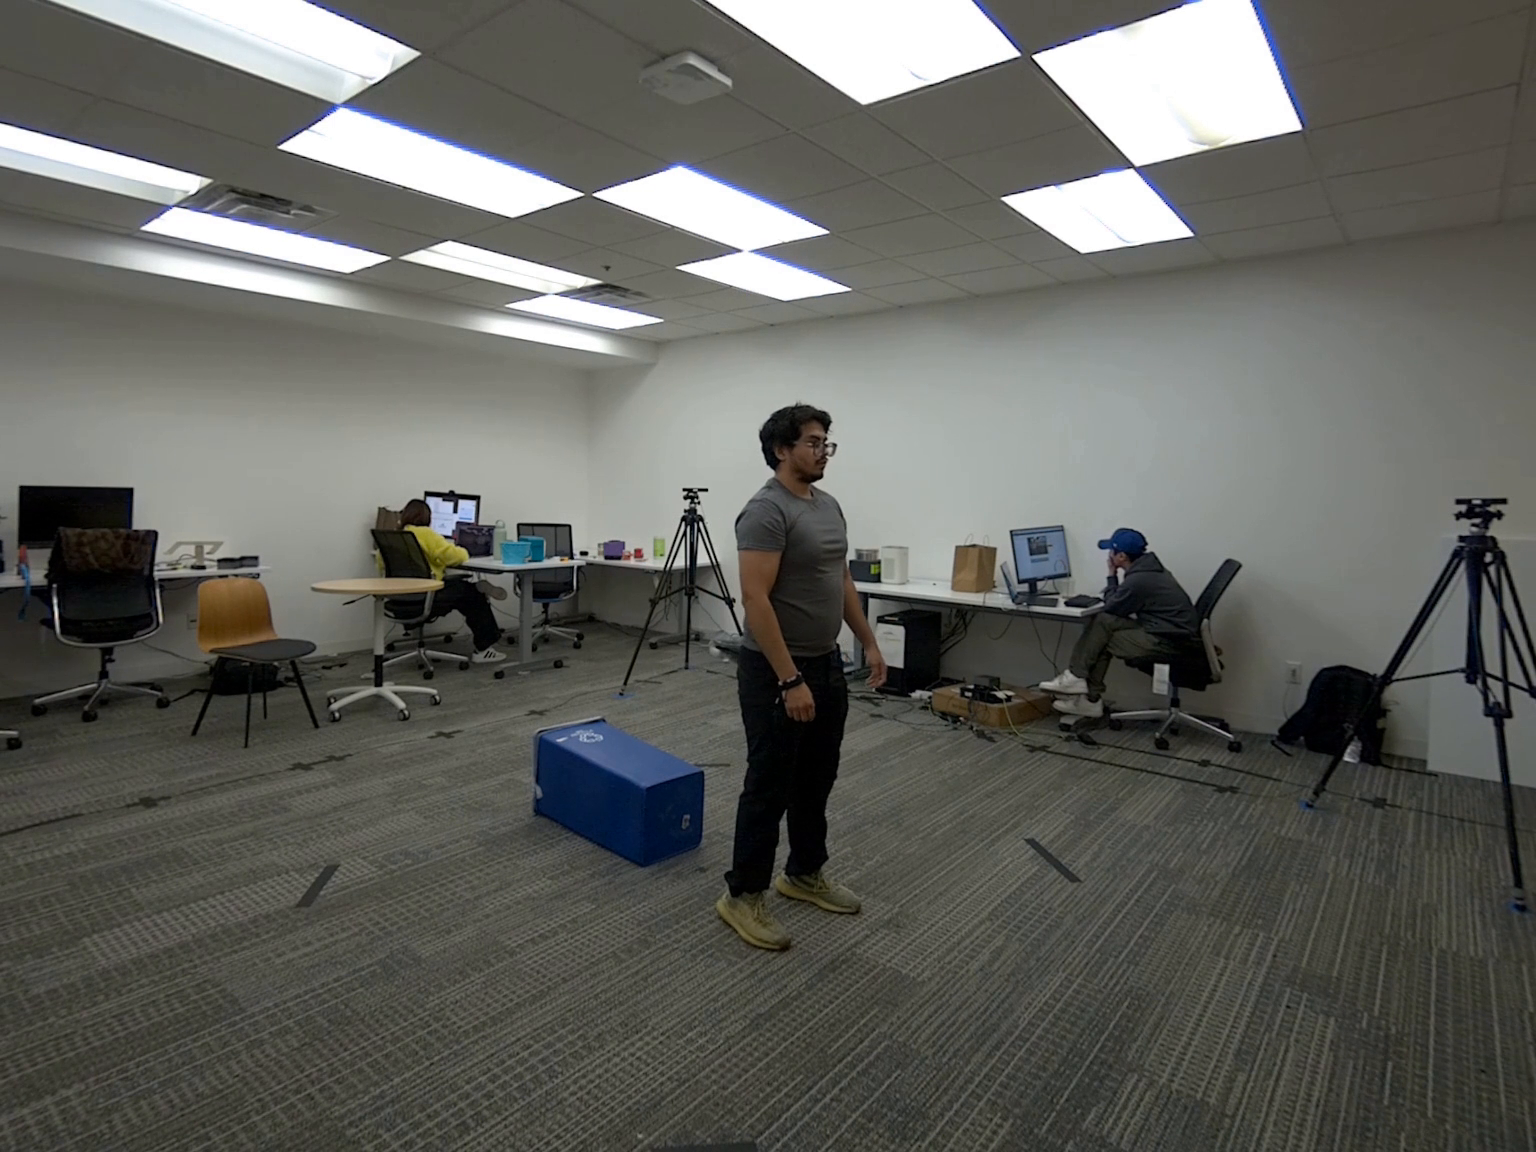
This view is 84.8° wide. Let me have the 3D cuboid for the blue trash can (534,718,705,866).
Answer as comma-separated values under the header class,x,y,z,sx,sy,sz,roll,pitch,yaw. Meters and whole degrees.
class,x,y,z,sx,sy,sz,roll,pitch,yaw
blue trash can,-0.621,0.851,3.452,0.739,0.372,0.366,8,8,44
